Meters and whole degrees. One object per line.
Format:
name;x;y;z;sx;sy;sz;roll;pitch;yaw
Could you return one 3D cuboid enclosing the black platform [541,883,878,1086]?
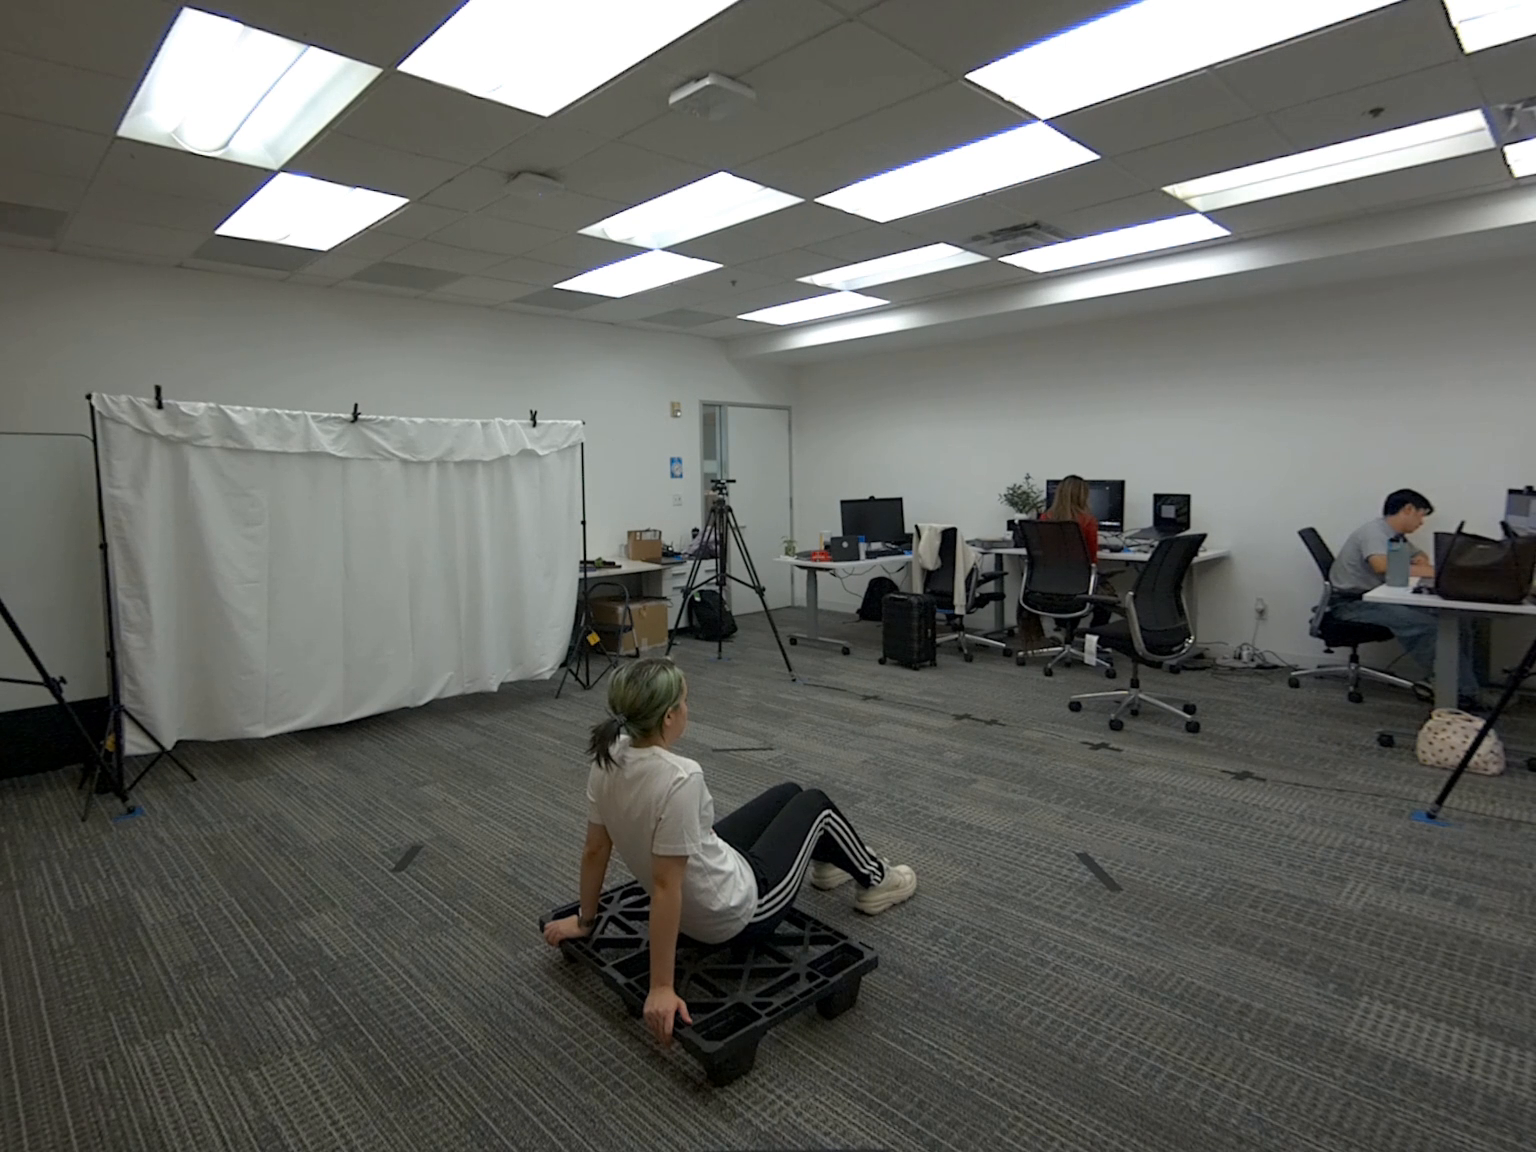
black platform;-0.188;1.066;2.398;0.589;0.142;0.831;-6;9;-40
